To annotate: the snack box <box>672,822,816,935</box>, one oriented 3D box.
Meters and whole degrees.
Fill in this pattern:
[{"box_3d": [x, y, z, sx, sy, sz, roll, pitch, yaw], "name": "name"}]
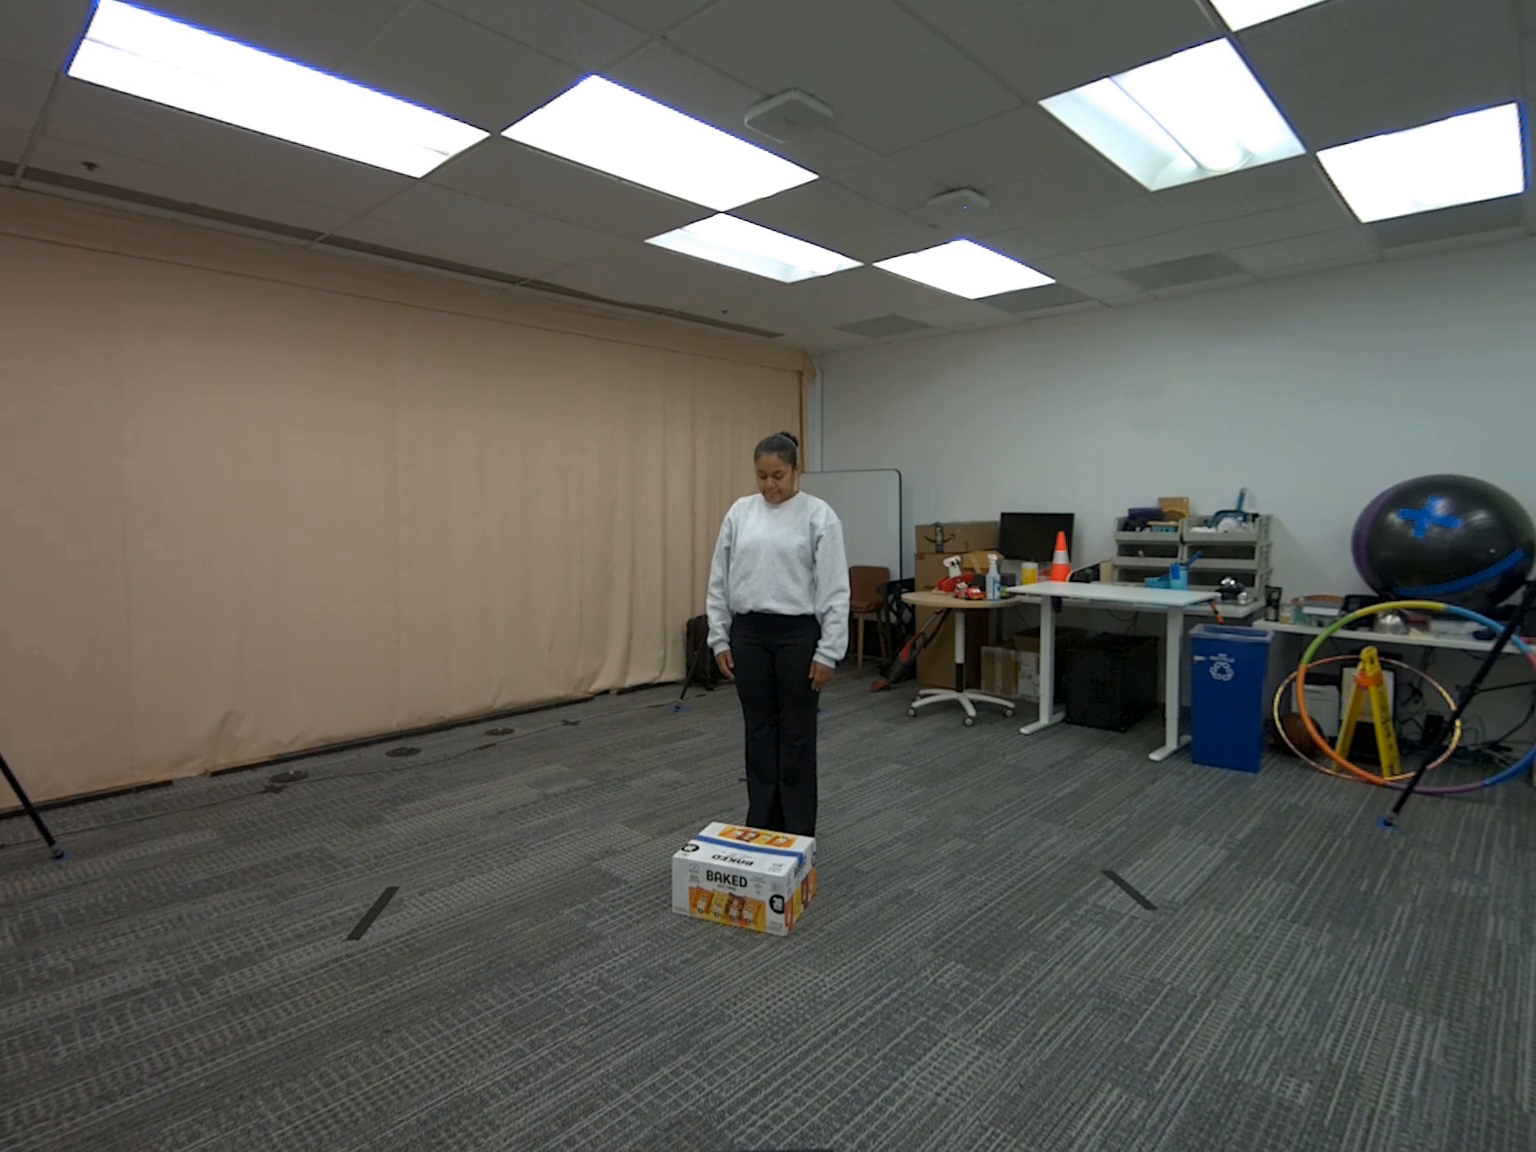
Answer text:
[{"box_3d": [-0.077, 1.047, 2.937, 0.415, 0.205, 0.333, 2, 4, 22], "name": "snack box"}]
